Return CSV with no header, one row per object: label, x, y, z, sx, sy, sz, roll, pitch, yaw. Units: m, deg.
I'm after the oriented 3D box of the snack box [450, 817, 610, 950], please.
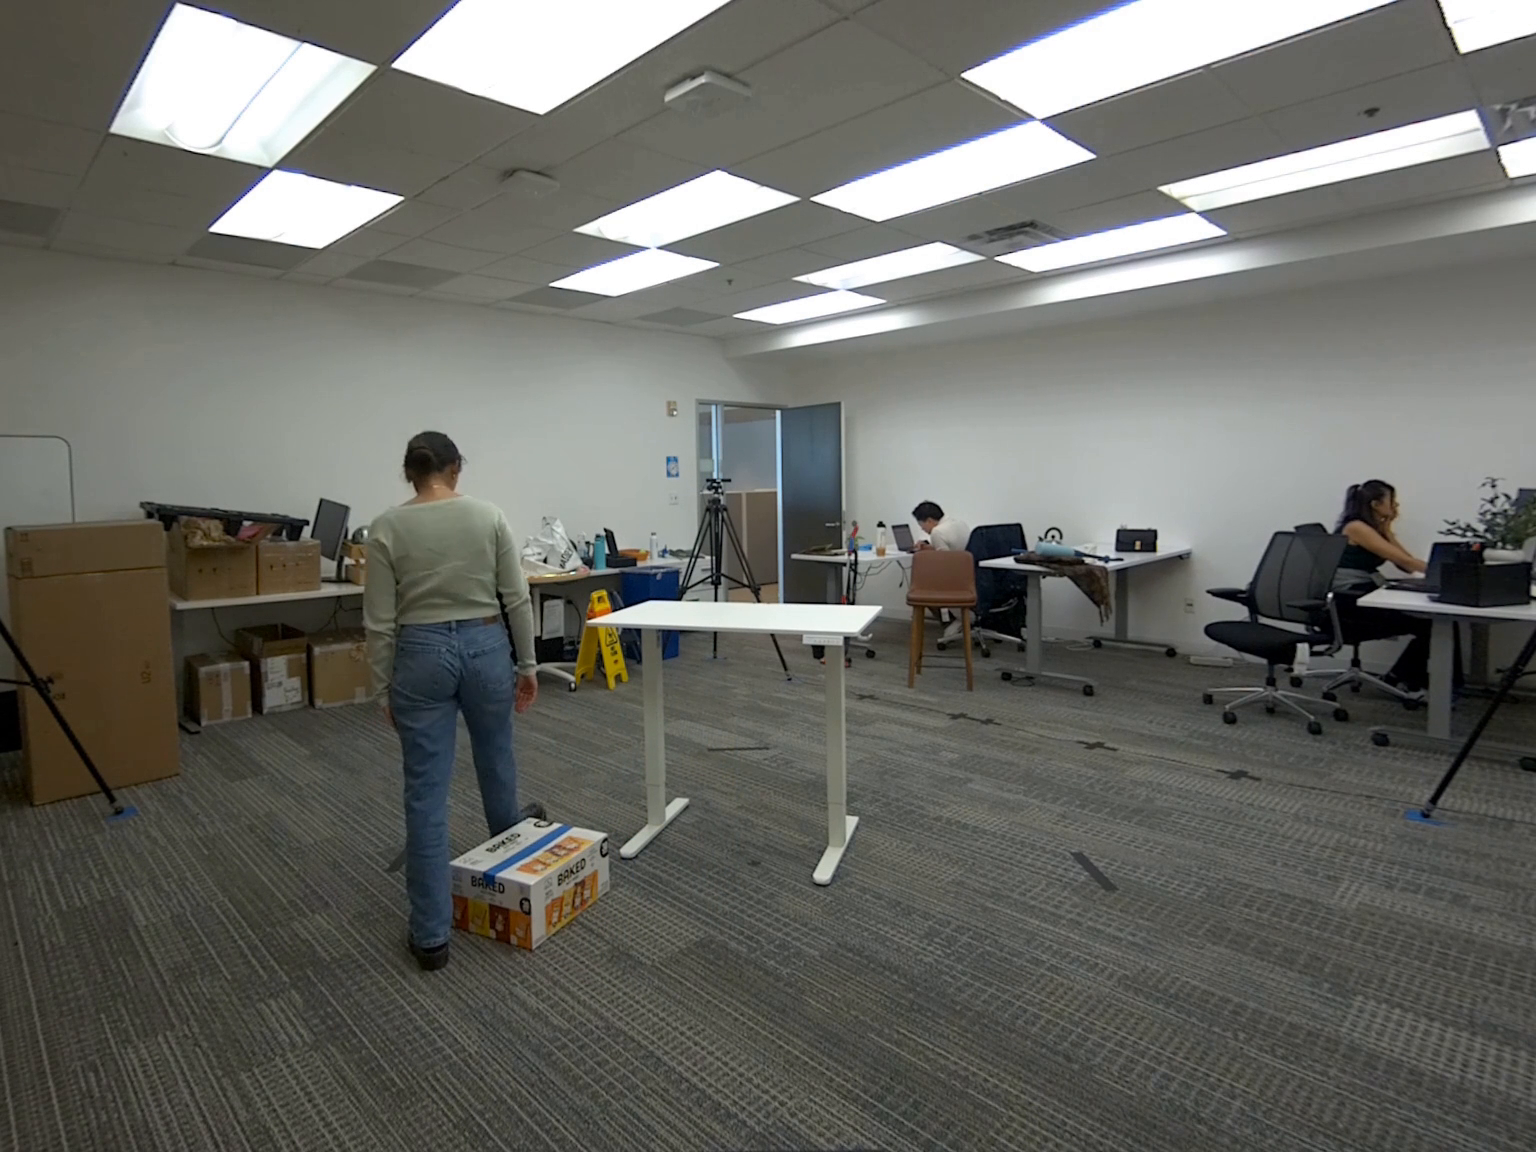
snack box,-0.775,0.993,2.800,0.348,0.205,0.397,2,7,26
